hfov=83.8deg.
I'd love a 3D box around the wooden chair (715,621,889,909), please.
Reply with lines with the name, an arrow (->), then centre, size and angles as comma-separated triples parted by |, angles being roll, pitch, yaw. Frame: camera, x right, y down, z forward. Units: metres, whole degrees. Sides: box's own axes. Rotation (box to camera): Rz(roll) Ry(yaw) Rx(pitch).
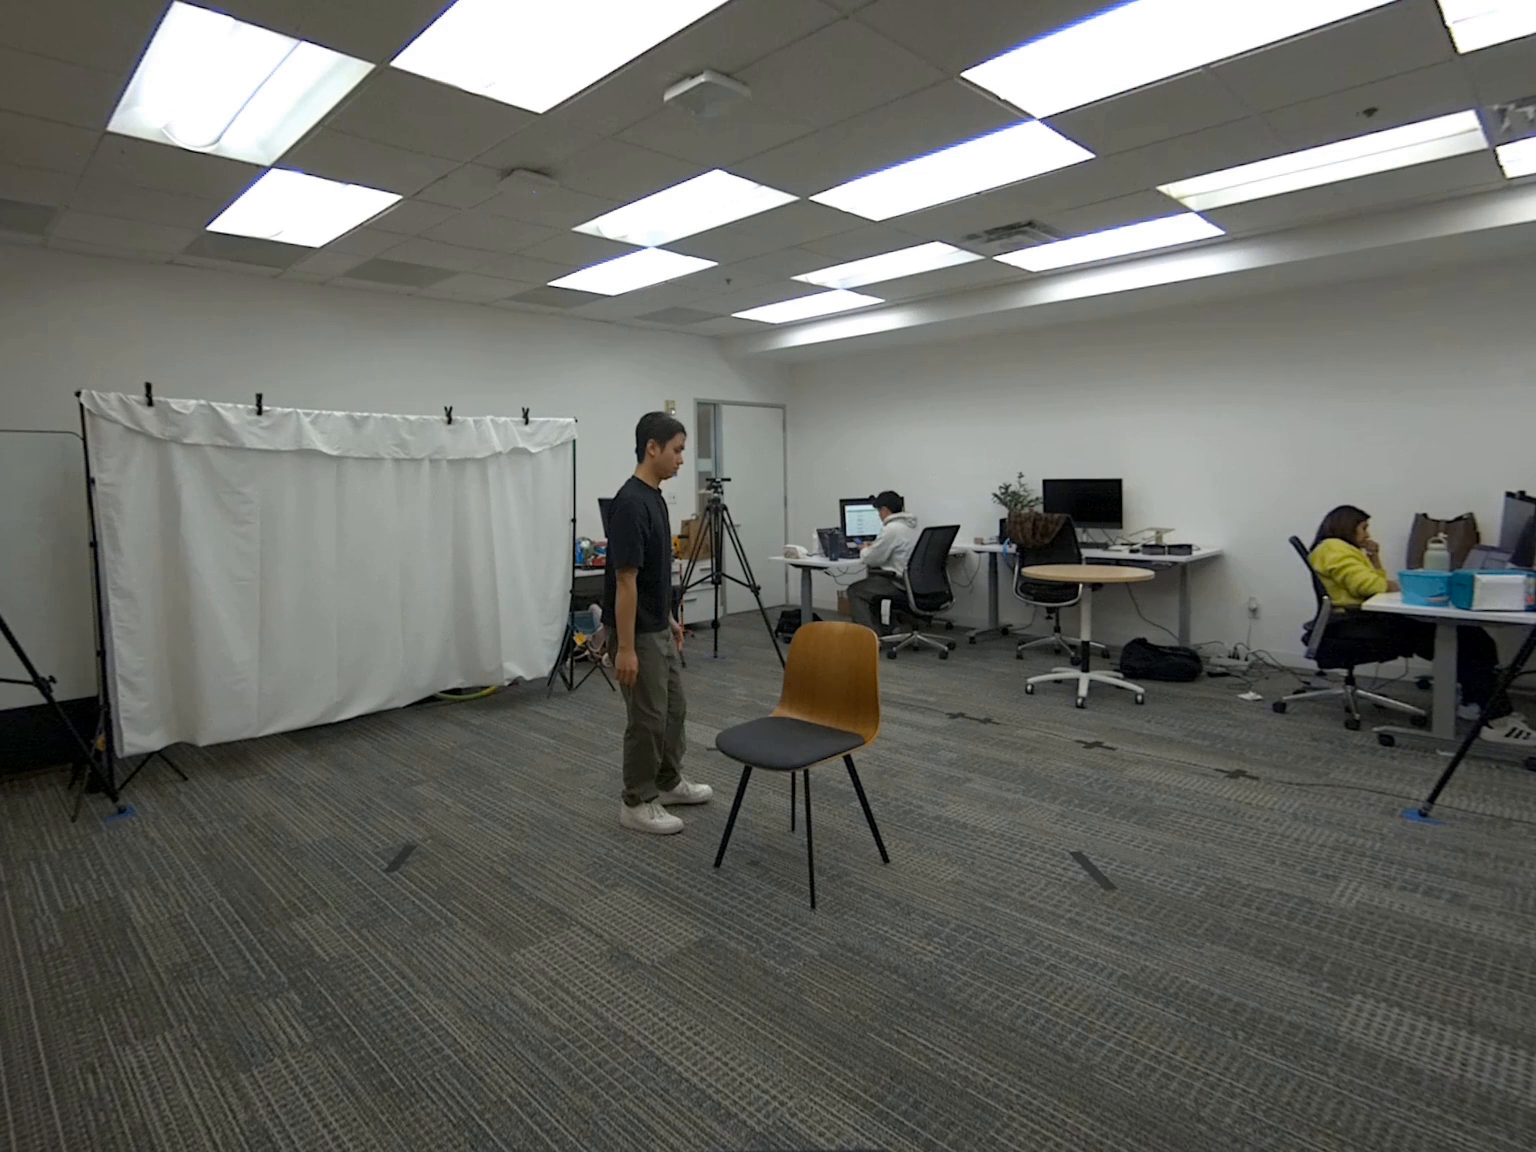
wooden chair -> 0.110, 0.617, 3.033 | 0.493, 0.876, 0.508 | 4, 2, 42
